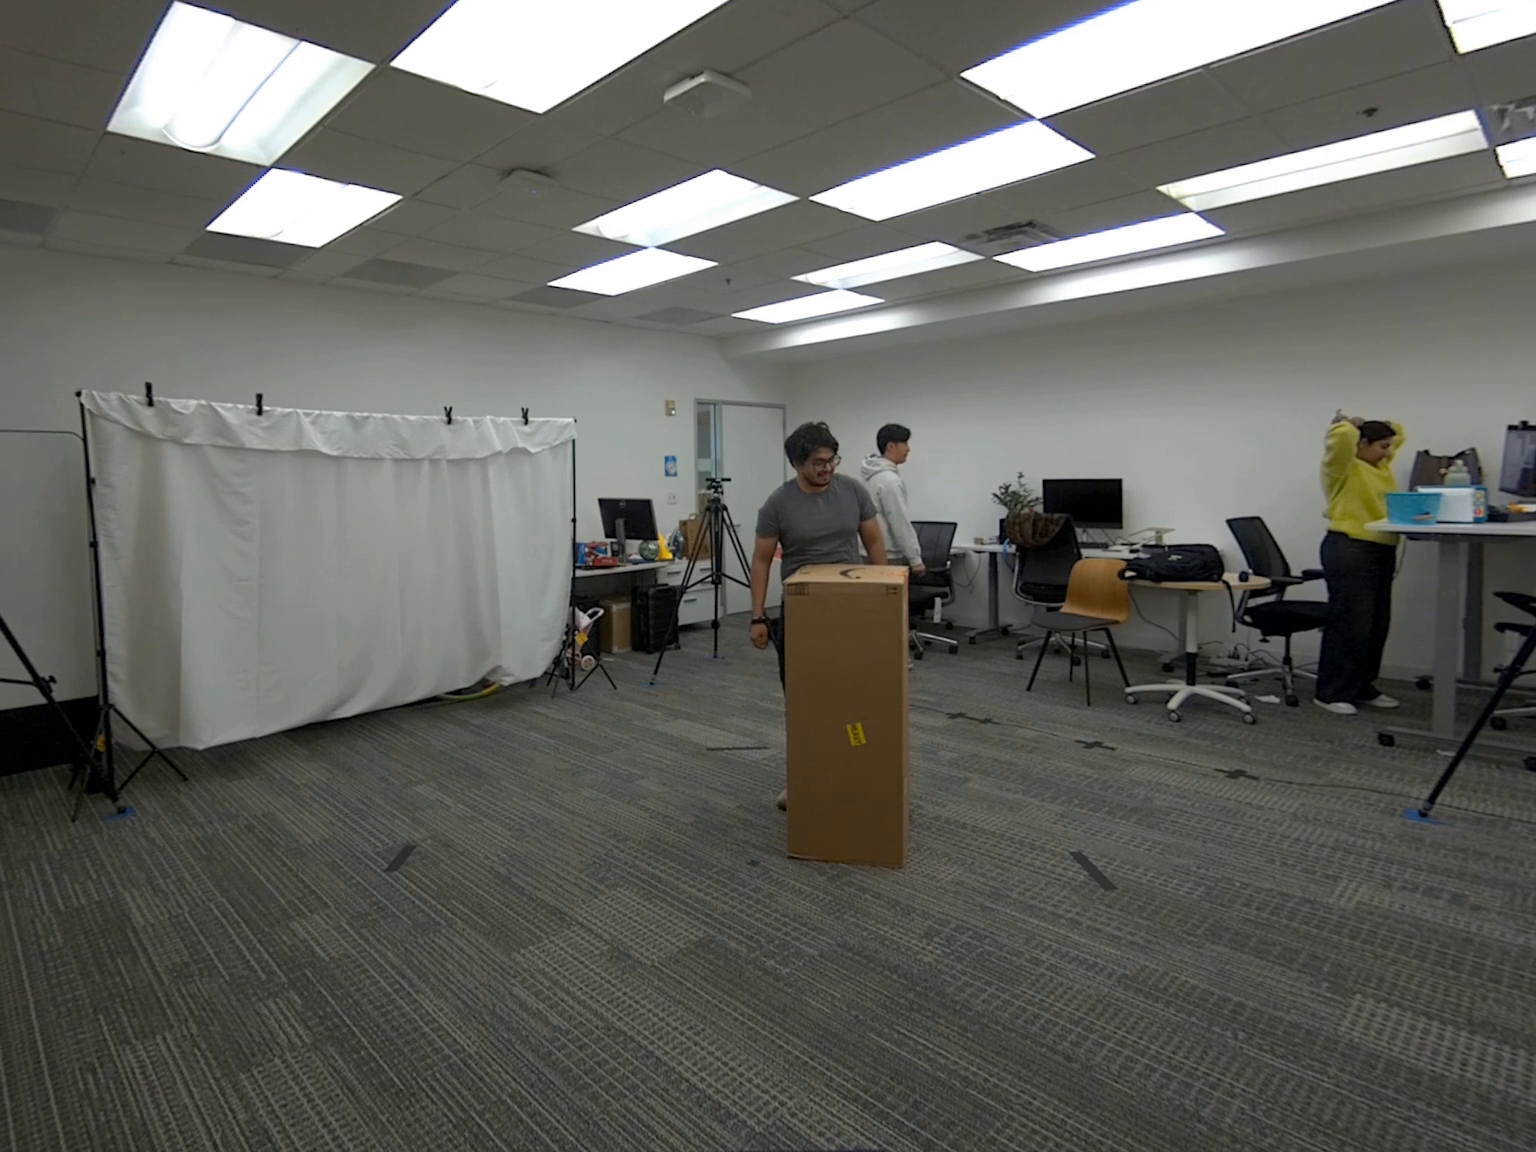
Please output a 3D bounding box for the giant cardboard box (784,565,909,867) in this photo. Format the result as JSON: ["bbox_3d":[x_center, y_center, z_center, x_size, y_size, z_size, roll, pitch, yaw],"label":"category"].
[{"bbox_3d":[0.330,0.502,3.329,0.452,1.023,0.579,0,4,11],"label":"giant cardboard box"}]
